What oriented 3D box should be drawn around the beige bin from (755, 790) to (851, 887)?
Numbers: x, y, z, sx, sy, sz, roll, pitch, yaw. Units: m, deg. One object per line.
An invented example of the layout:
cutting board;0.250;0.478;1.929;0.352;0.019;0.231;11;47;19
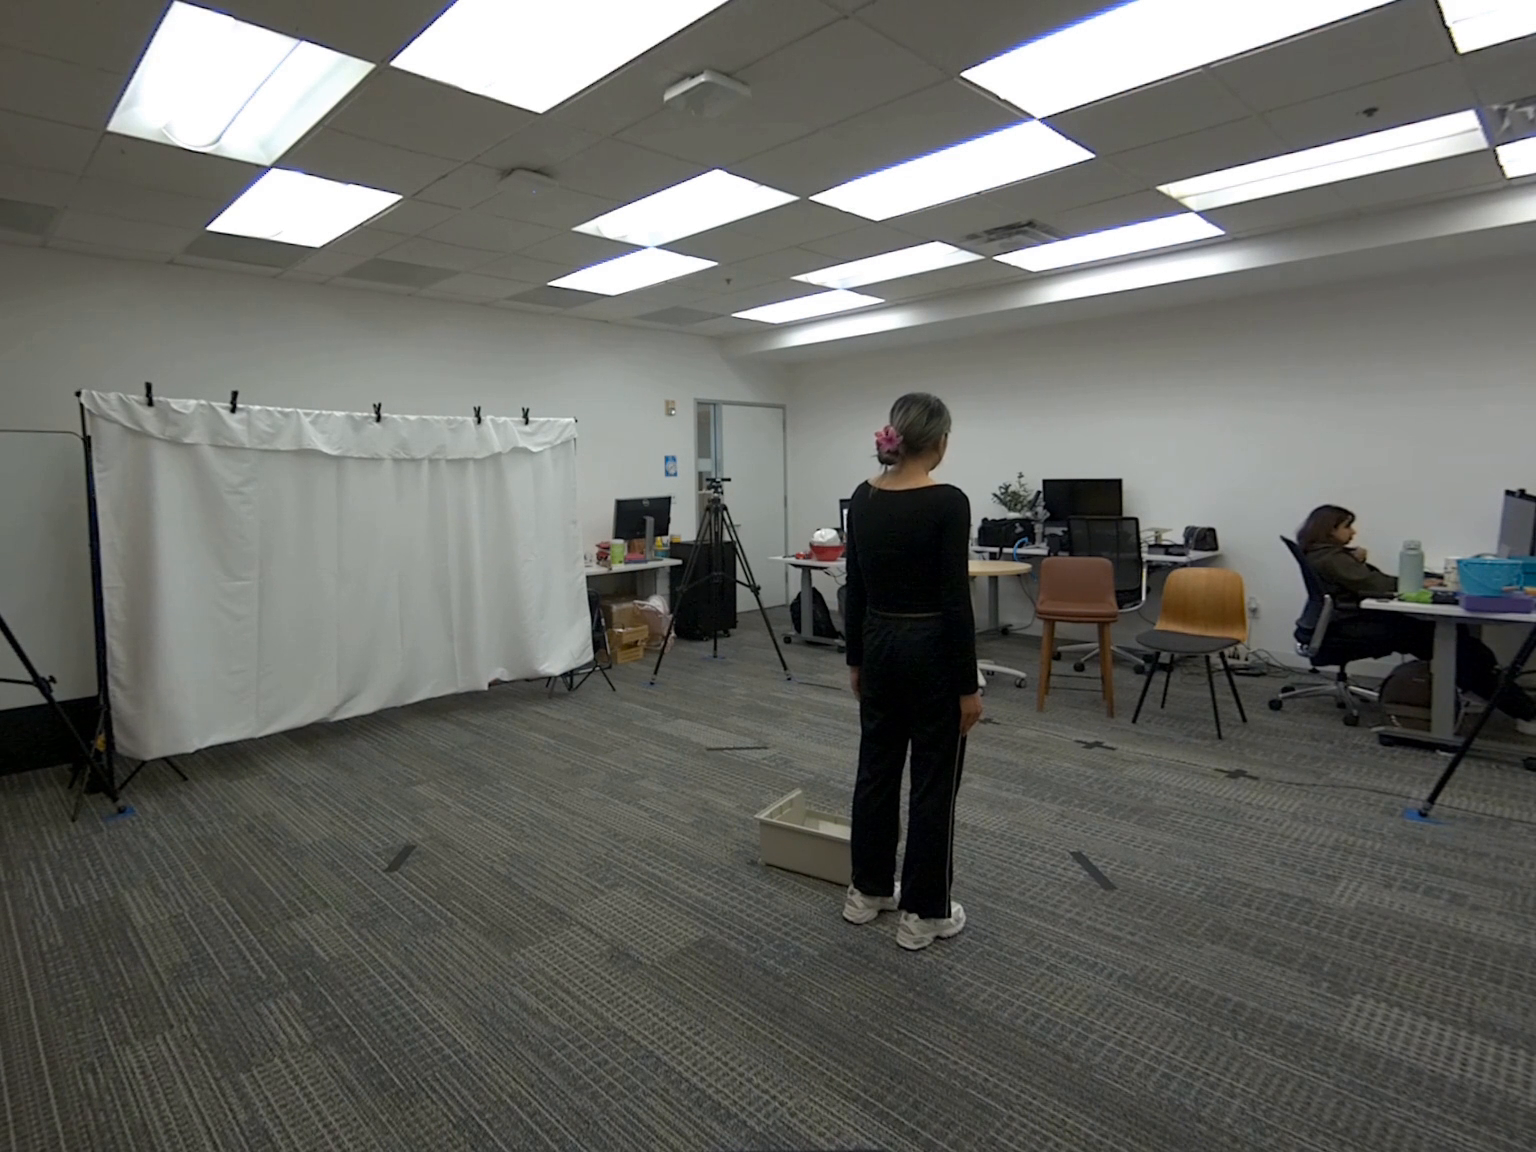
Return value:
beige bin;0.226;0.951;3.123;0.434;0.188;0.369;4;8;32
